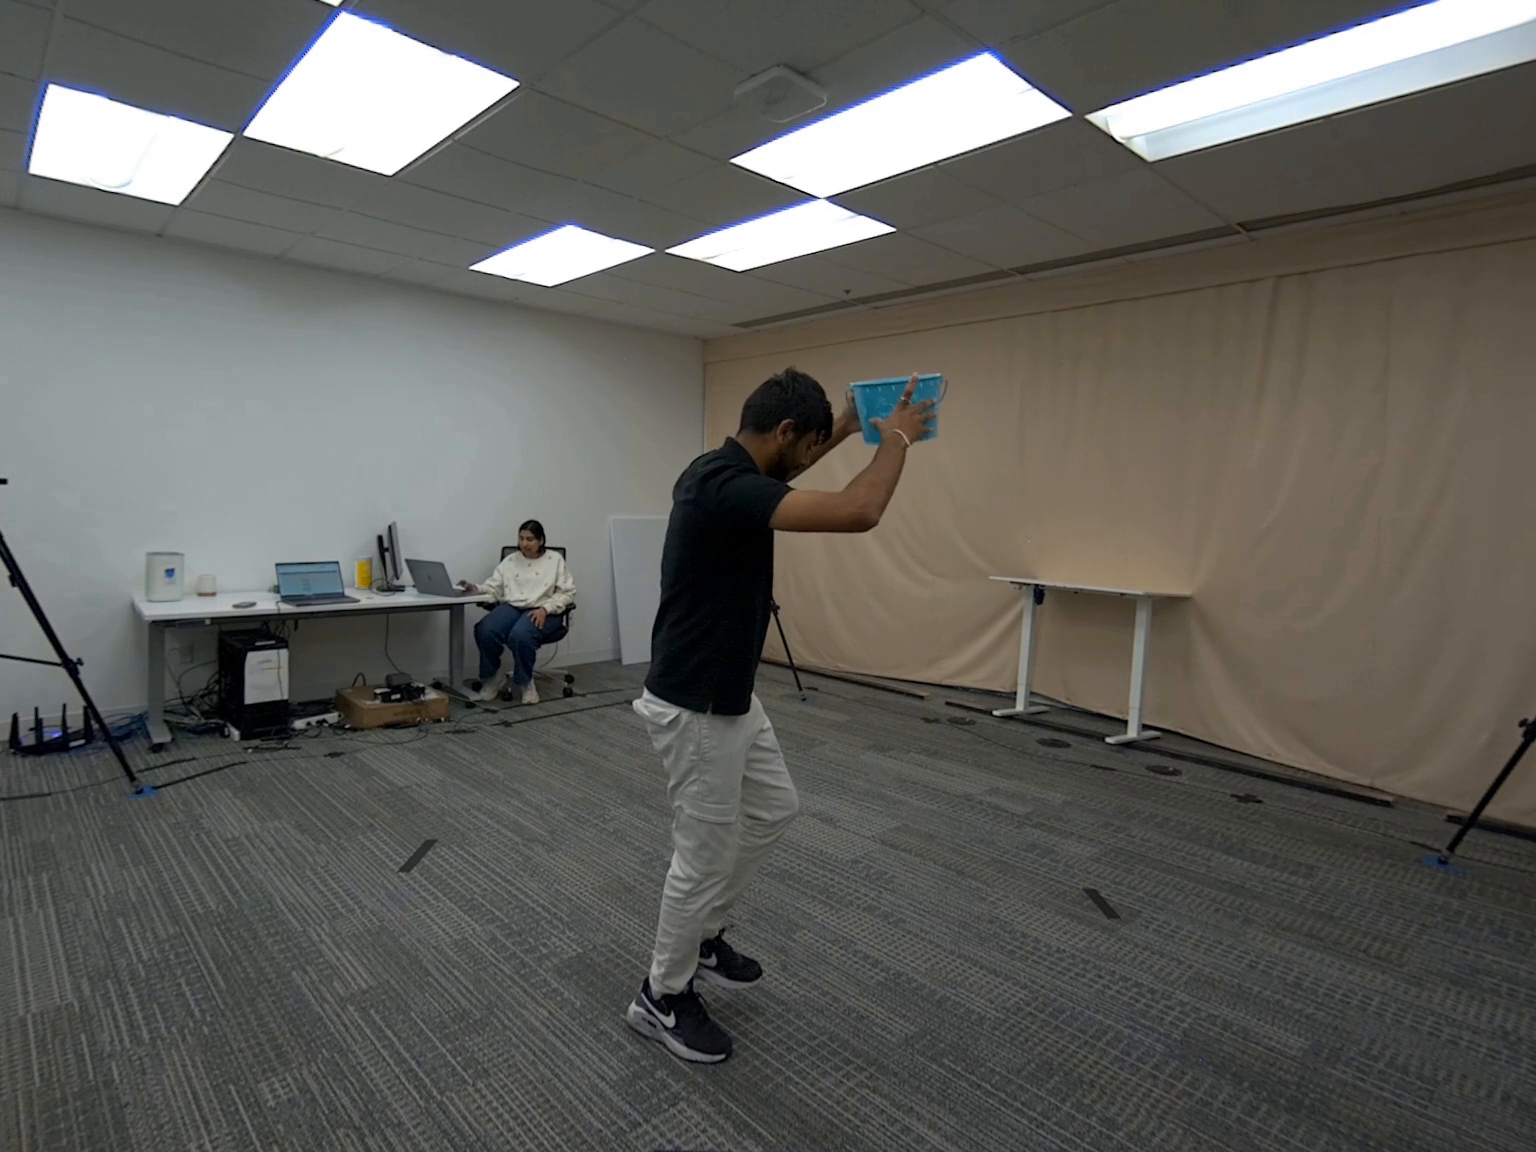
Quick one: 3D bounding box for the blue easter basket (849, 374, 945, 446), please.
[{"bbox_3d":[0.329,-0.410,2.102,0.243,0.155,0.245,-7,10,0],"label":"blue easter basket"}]
